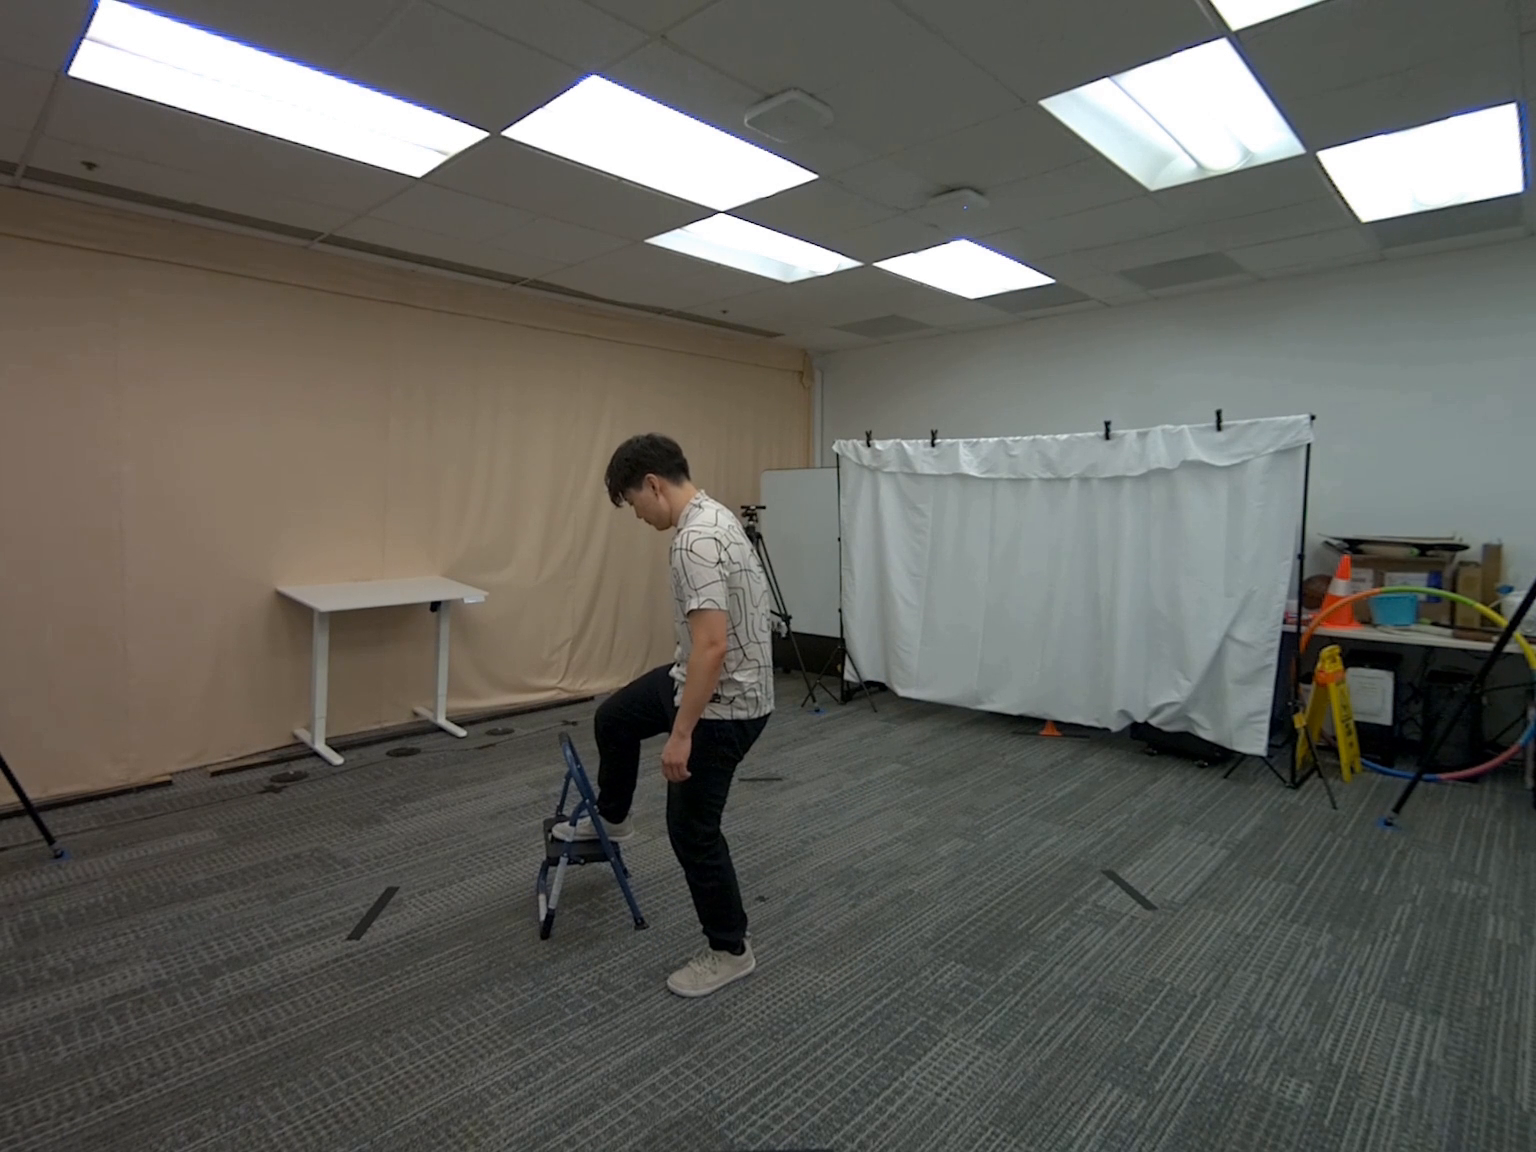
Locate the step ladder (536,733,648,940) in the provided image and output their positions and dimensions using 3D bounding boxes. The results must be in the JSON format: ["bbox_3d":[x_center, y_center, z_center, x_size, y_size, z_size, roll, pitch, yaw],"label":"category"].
[{"bbox_3d":[-0.630,0.849,2.924,0.344,0.605,0.438,-2,3,-16],"label":"step ladder"}]
